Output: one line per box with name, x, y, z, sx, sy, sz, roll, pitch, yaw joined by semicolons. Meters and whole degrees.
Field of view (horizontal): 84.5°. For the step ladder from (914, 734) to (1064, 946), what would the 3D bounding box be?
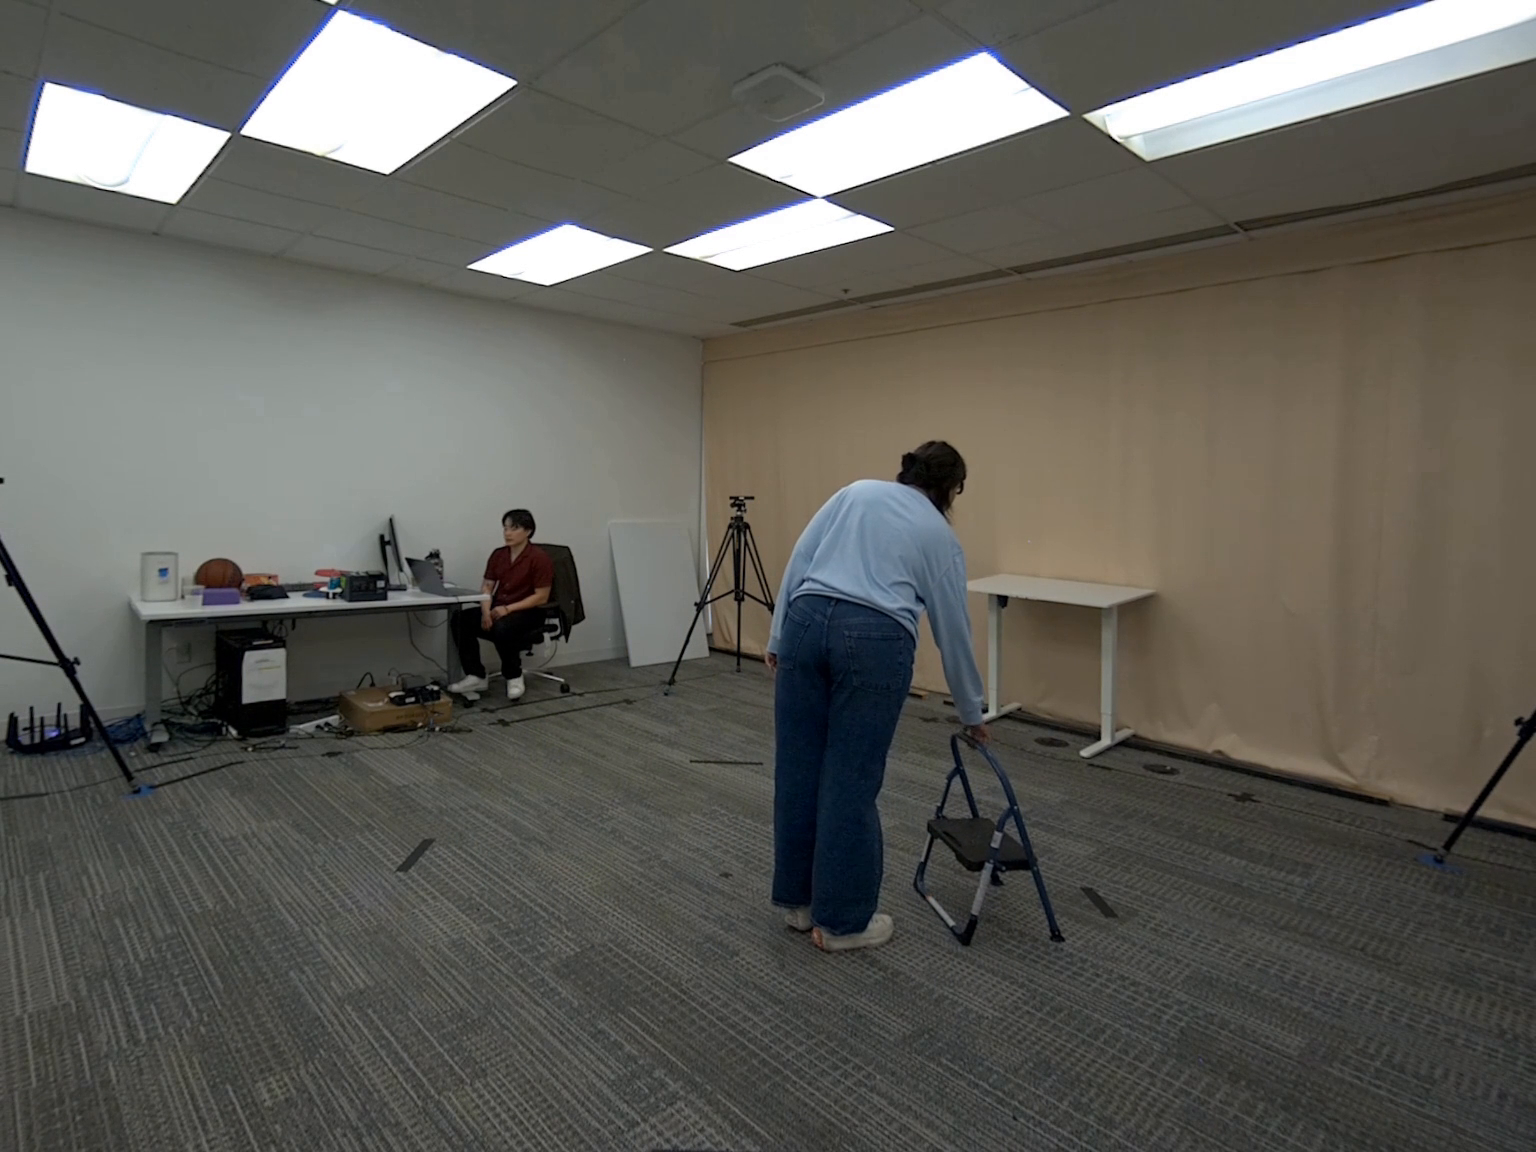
step ladder;0.731;0.844;2.858;0.346;0.605;0.436;1;3;-12
